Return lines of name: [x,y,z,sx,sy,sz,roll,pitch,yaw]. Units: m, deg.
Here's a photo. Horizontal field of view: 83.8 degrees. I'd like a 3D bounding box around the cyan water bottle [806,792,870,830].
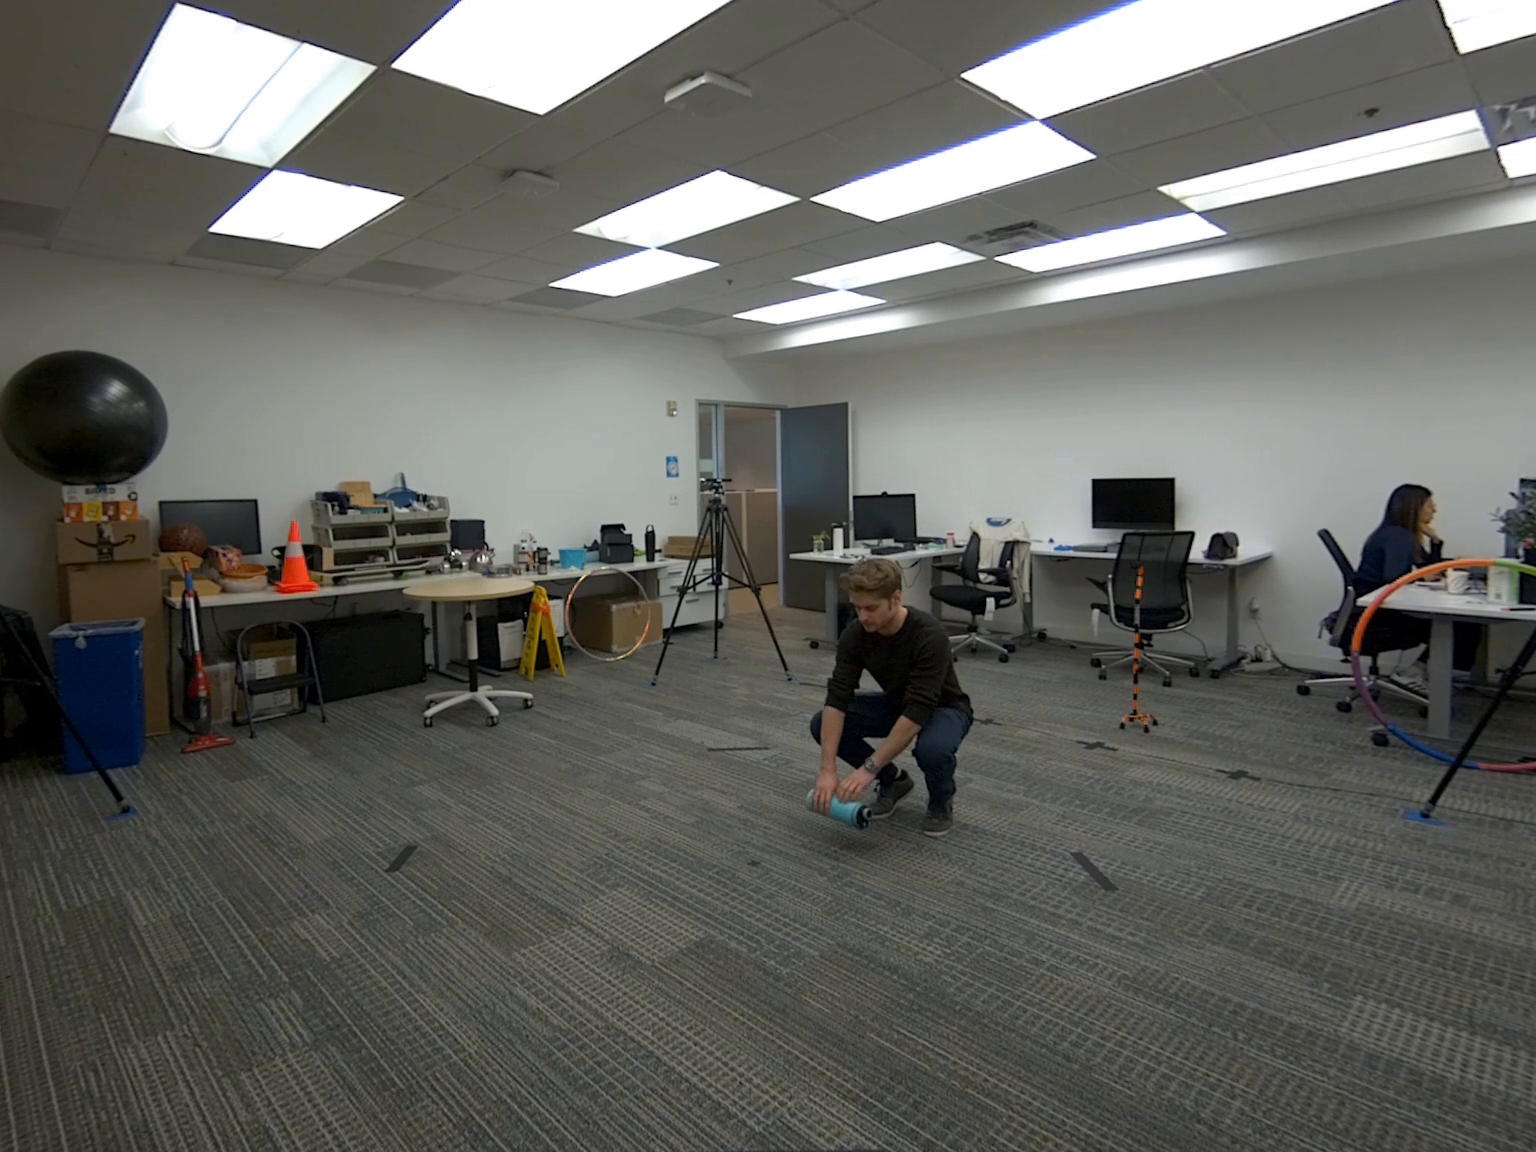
cyan water bottle: [0.265,0.867,3.194,0.090,0.092,0.292,-5,5,-41]
